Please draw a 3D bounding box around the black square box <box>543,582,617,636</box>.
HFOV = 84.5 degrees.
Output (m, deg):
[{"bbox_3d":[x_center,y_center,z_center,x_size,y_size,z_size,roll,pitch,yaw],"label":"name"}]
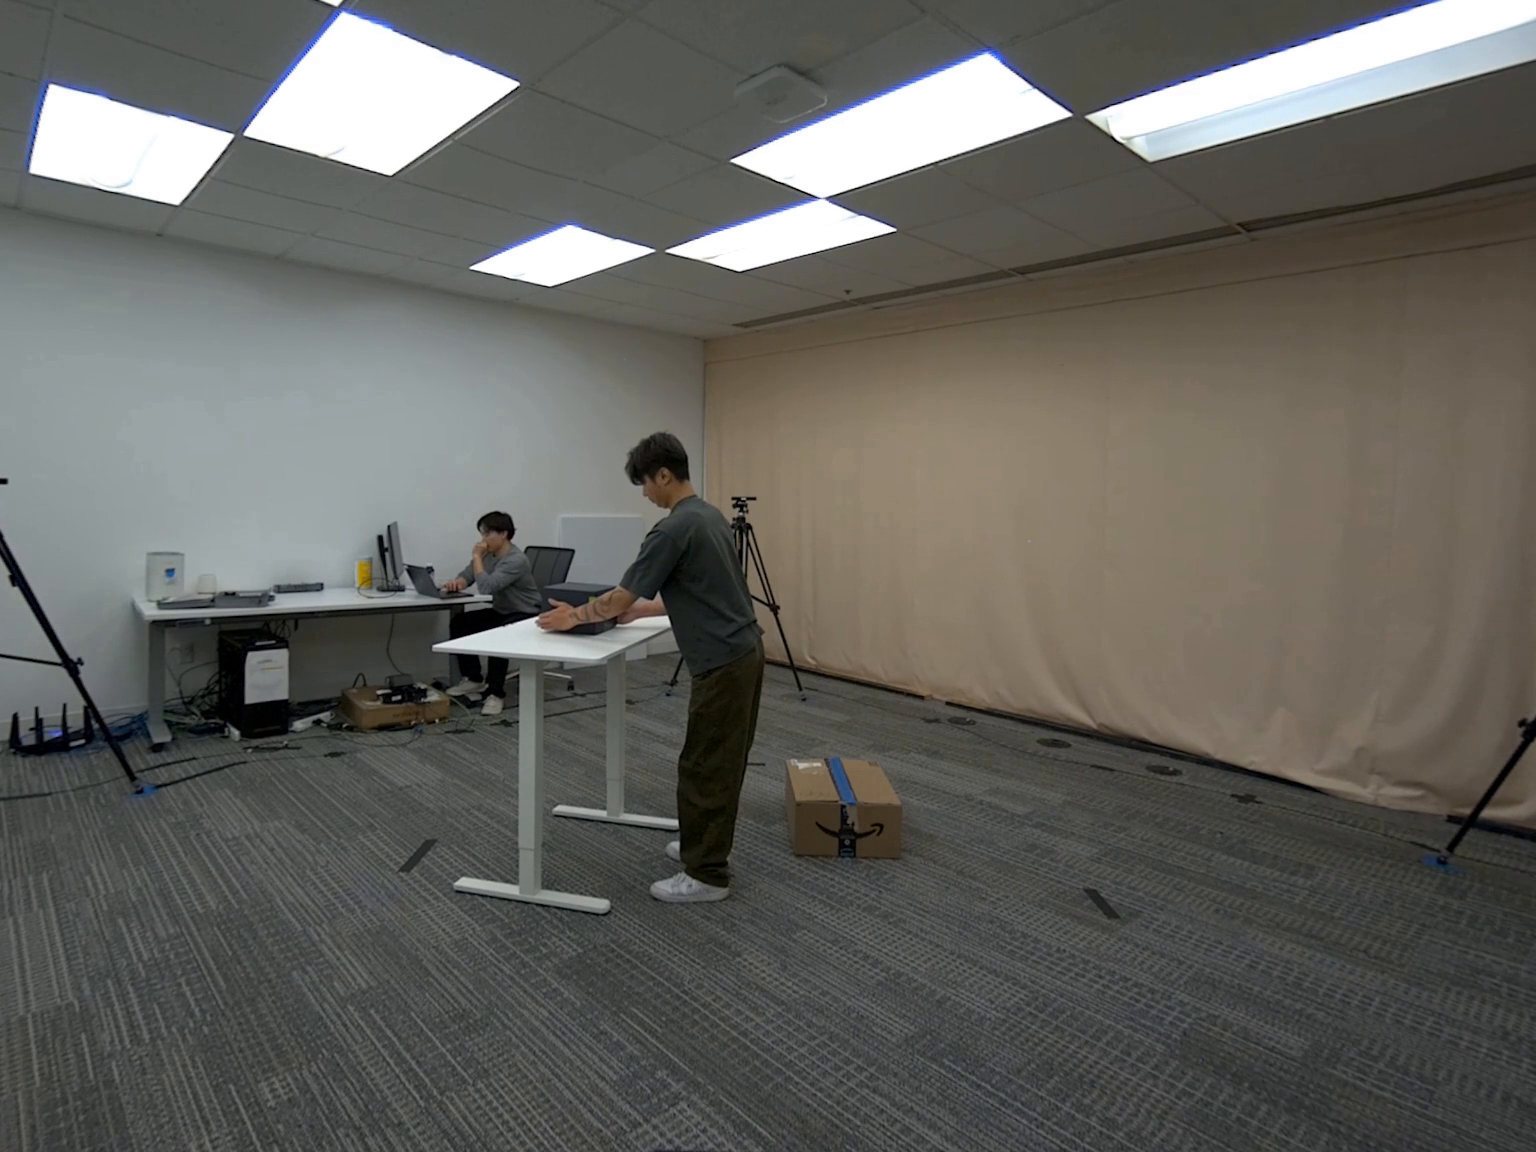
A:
[{"bbox_3d":[-0.719,0.115,3.206,0.219,0.155,0.226,4,4,13],"label":"black square box"}]
